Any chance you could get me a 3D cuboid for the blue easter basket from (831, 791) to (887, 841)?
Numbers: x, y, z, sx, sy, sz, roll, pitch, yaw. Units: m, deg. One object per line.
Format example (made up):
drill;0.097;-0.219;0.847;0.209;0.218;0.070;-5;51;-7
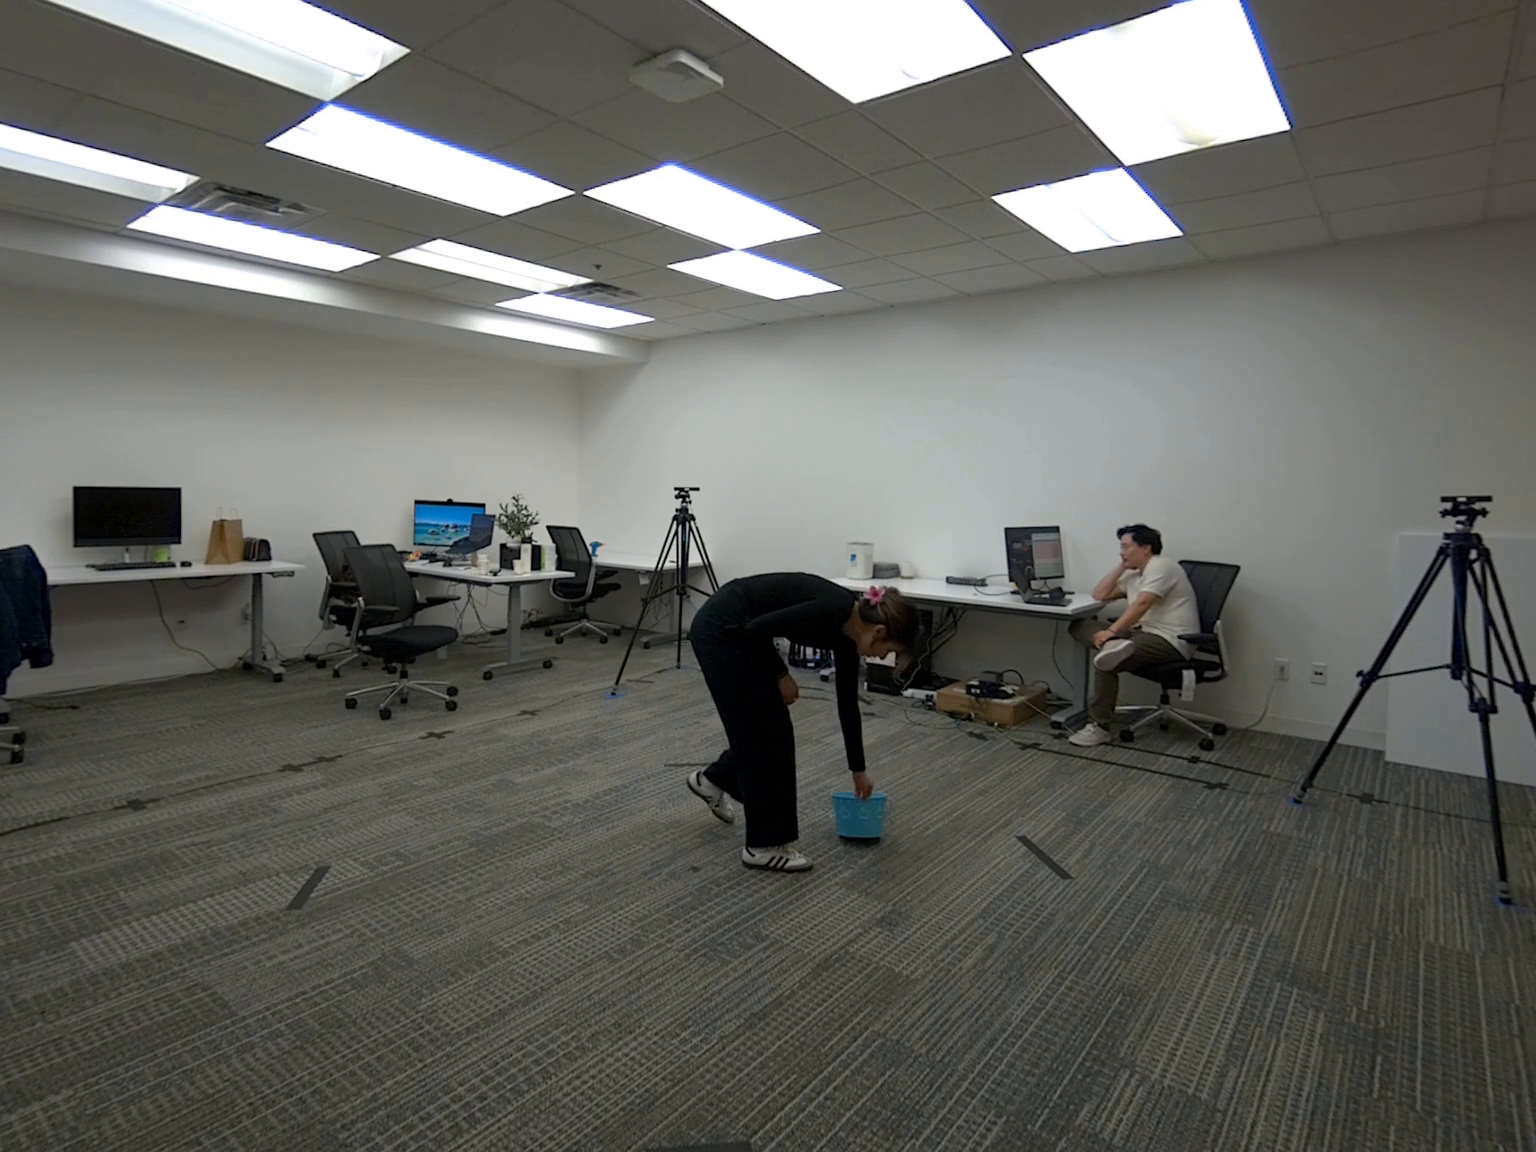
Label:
blue easter basket;0.356;0.953;3.422;0.243;0.157;0.242;-1;-7;-2
